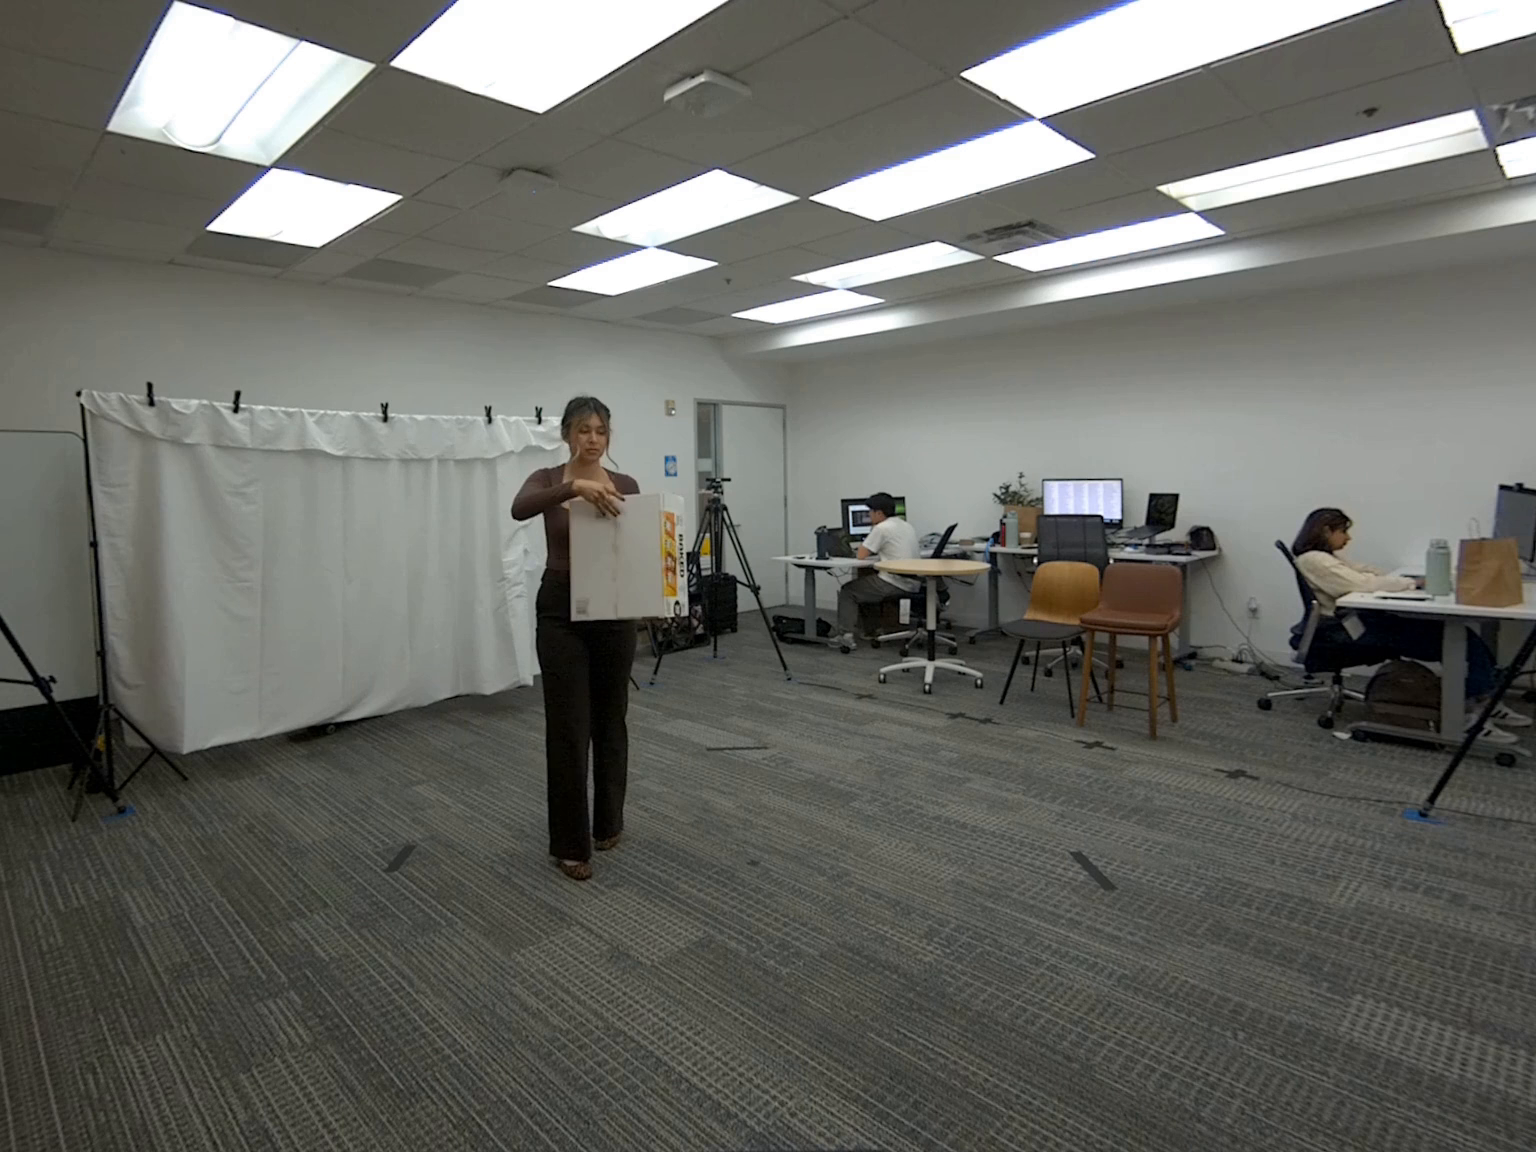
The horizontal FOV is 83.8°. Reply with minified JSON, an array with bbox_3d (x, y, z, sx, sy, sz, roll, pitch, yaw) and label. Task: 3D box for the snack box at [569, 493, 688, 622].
[{"bbox_3d":[-0.476,-0.047,2.863,0.346,0.407,0.201,-4,-5,18],"label":"snack box"}]
